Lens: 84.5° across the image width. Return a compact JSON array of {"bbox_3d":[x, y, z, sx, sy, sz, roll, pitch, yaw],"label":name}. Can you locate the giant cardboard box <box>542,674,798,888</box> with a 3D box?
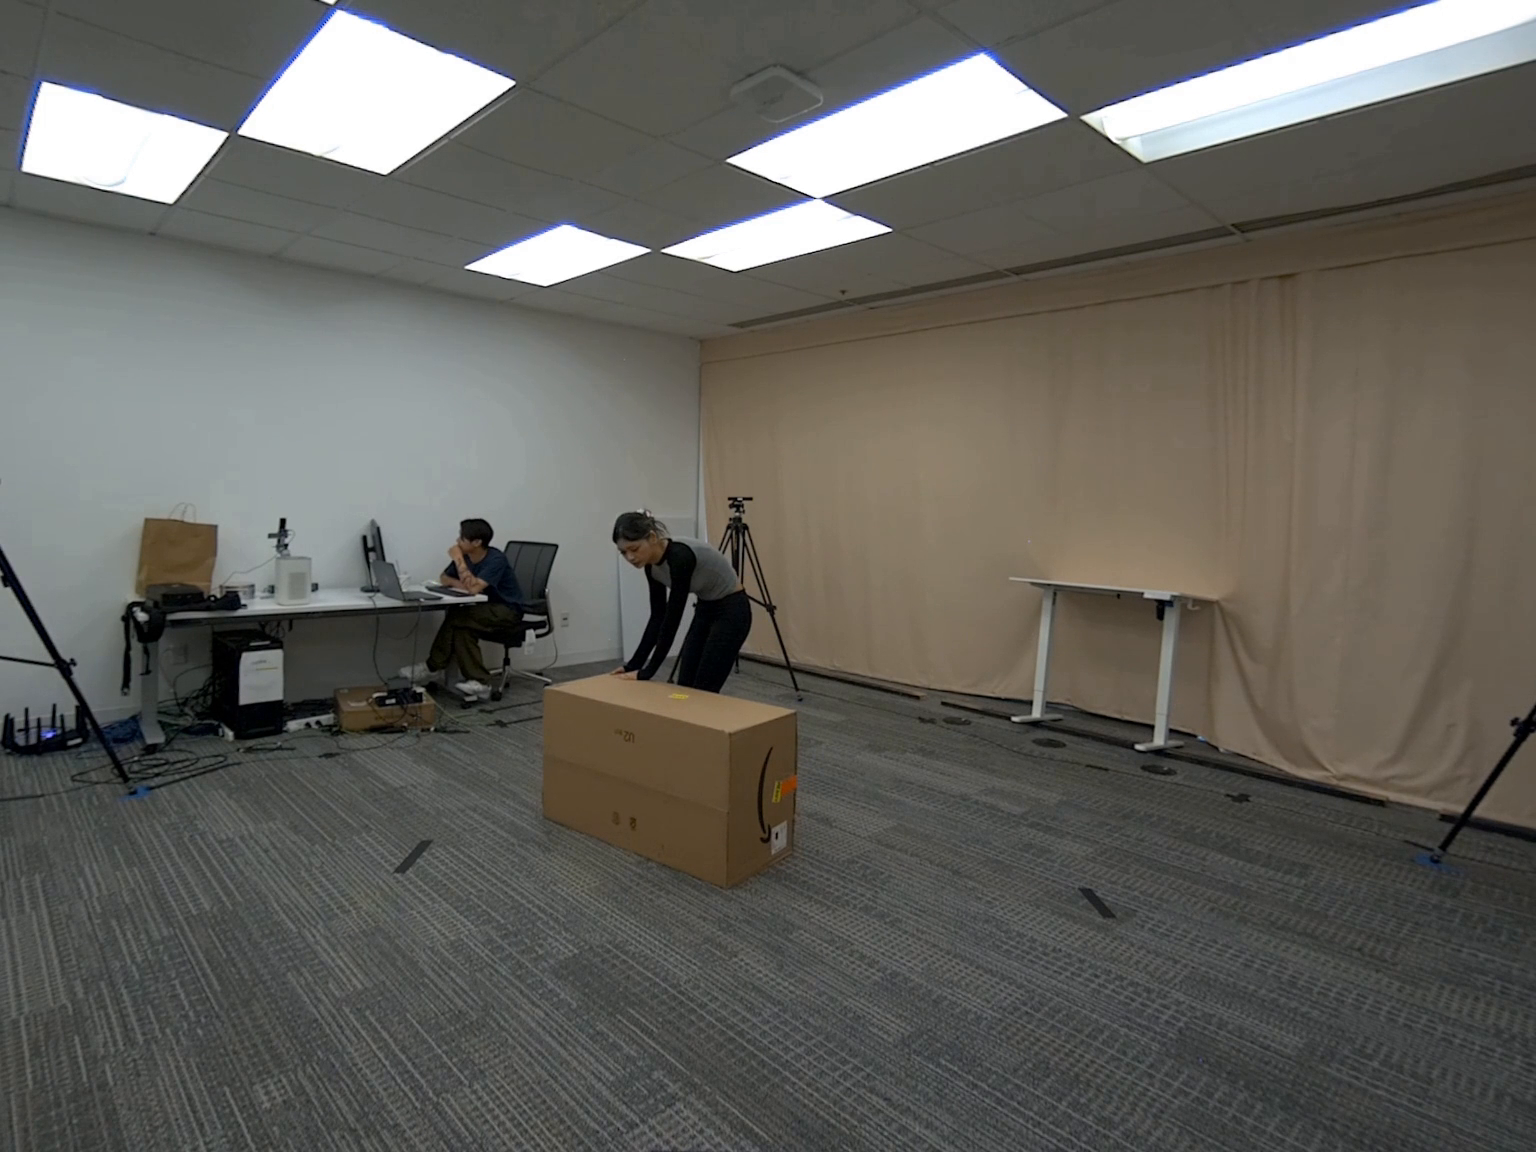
[{"bbox_3d":[-0.428,0.784,3.447,1.052,0.583,0.437,5,4,36],"label":"giant cardboard box"}]
